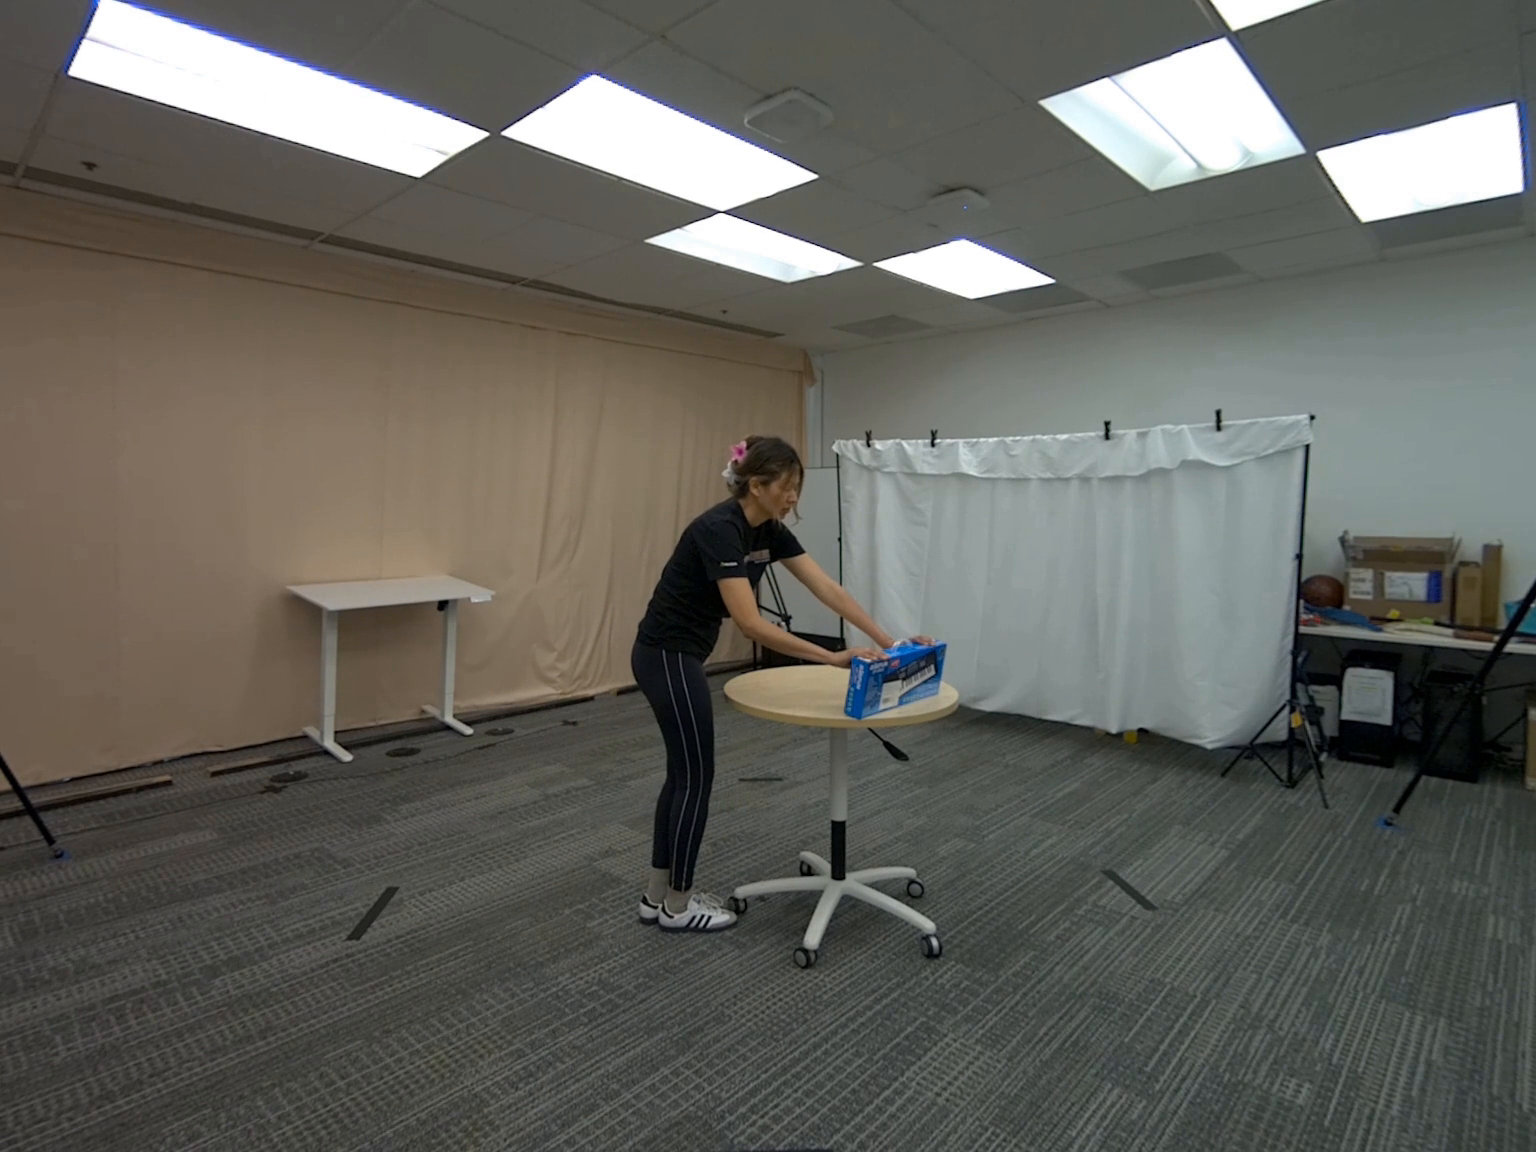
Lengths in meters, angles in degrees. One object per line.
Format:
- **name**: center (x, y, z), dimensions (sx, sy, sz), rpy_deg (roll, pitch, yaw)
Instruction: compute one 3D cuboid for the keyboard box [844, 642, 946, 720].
- **keyboard box**: center (0.398, 0.312, 2.561), dimensions (0.061, 0.175, 0.424), rpy_deg (17, 16, 41)
